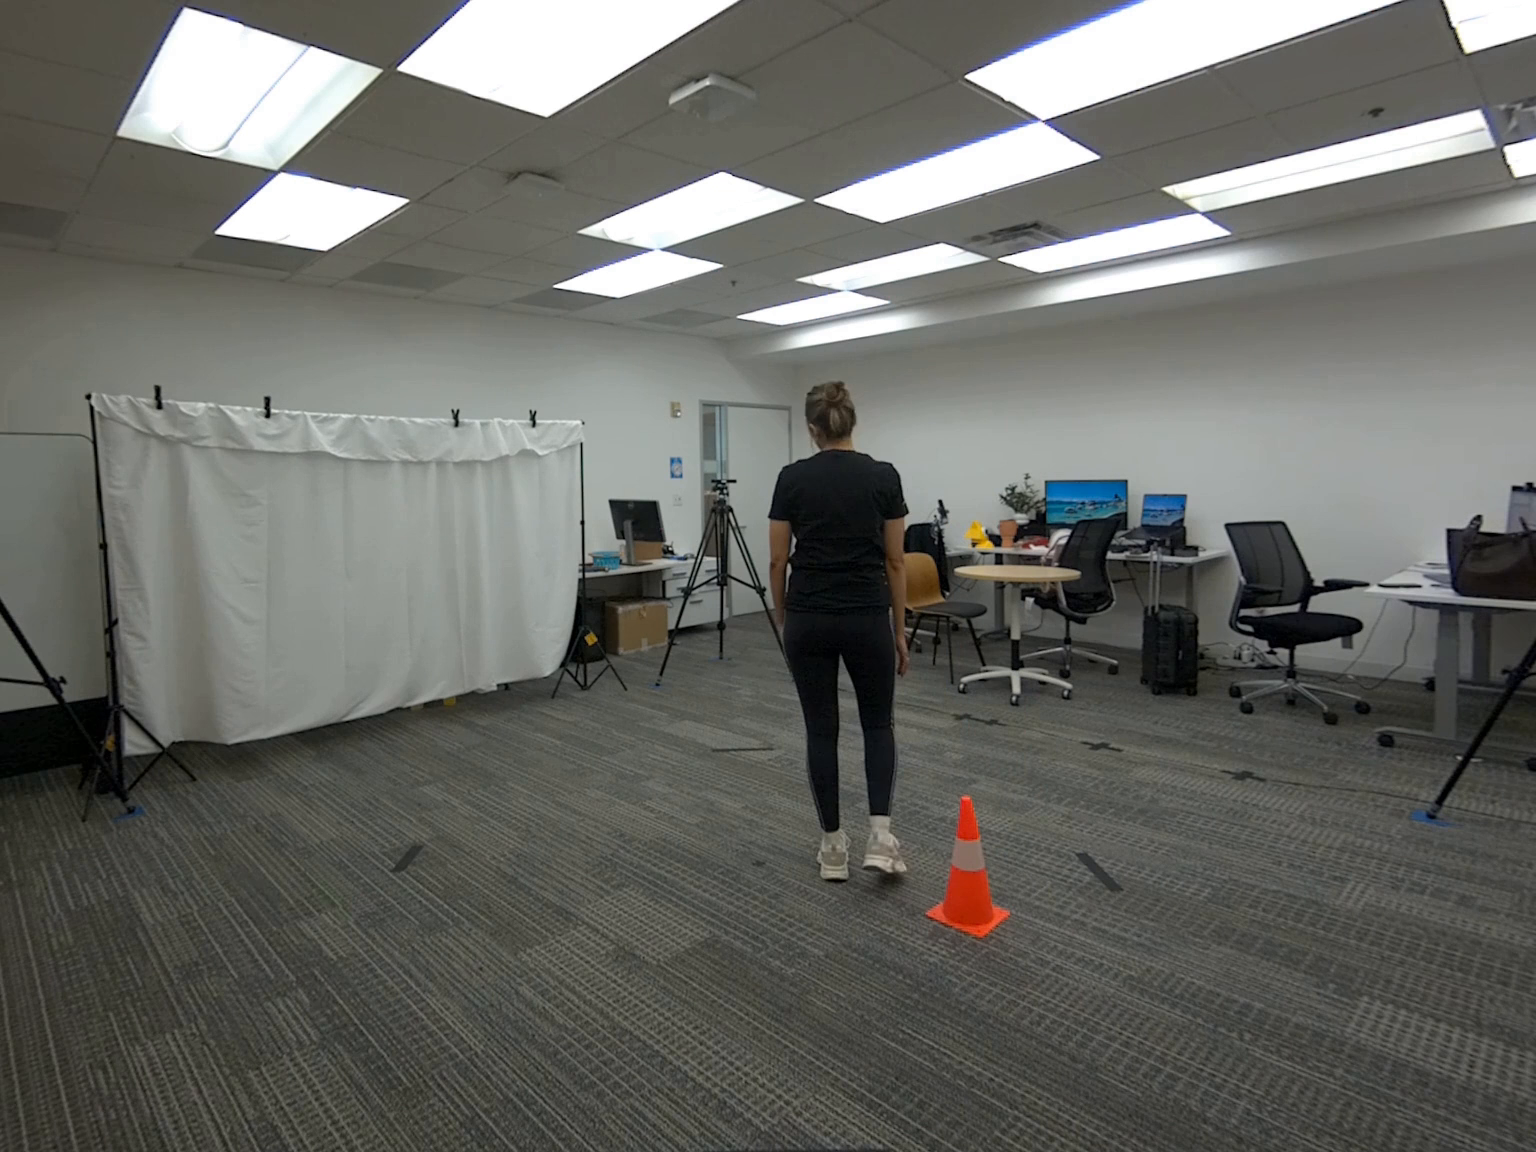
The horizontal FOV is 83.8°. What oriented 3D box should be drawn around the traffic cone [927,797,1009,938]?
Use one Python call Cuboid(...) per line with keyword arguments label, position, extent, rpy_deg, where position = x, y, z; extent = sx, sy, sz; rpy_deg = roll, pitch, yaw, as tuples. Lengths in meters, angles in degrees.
Cuboid(label="traffic cone", position=(0.636, 0.892, 2.706), extent=(0.200, 0.382, 0.209), rpy_deg=(-7, 6, -43))
